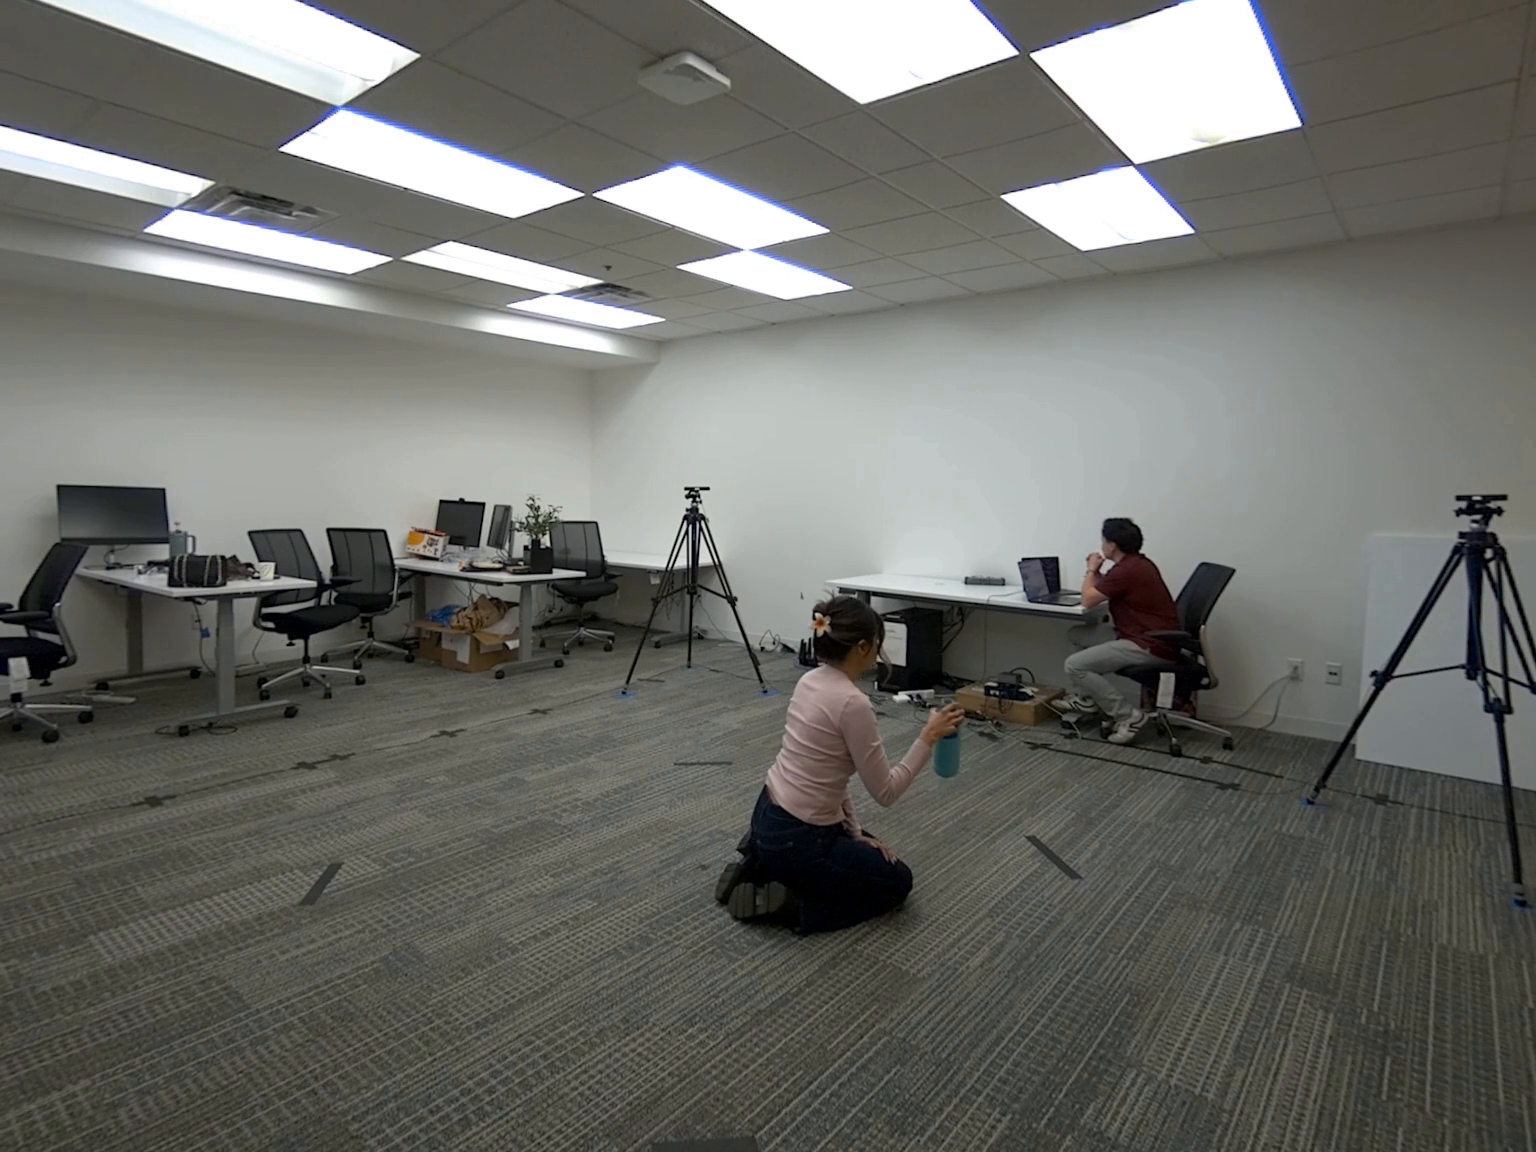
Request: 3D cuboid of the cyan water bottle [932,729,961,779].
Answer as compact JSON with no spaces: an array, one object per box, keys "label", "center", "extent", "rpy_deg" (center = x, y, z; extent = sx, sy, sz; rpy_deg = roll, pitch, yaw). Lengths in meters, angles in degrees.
[{"label":"cyan water bottle","center":[0.596,0.544,2.834],"extent":[0.092,0.276,0.094],"rpy_deg":[-5,28,1]}]
